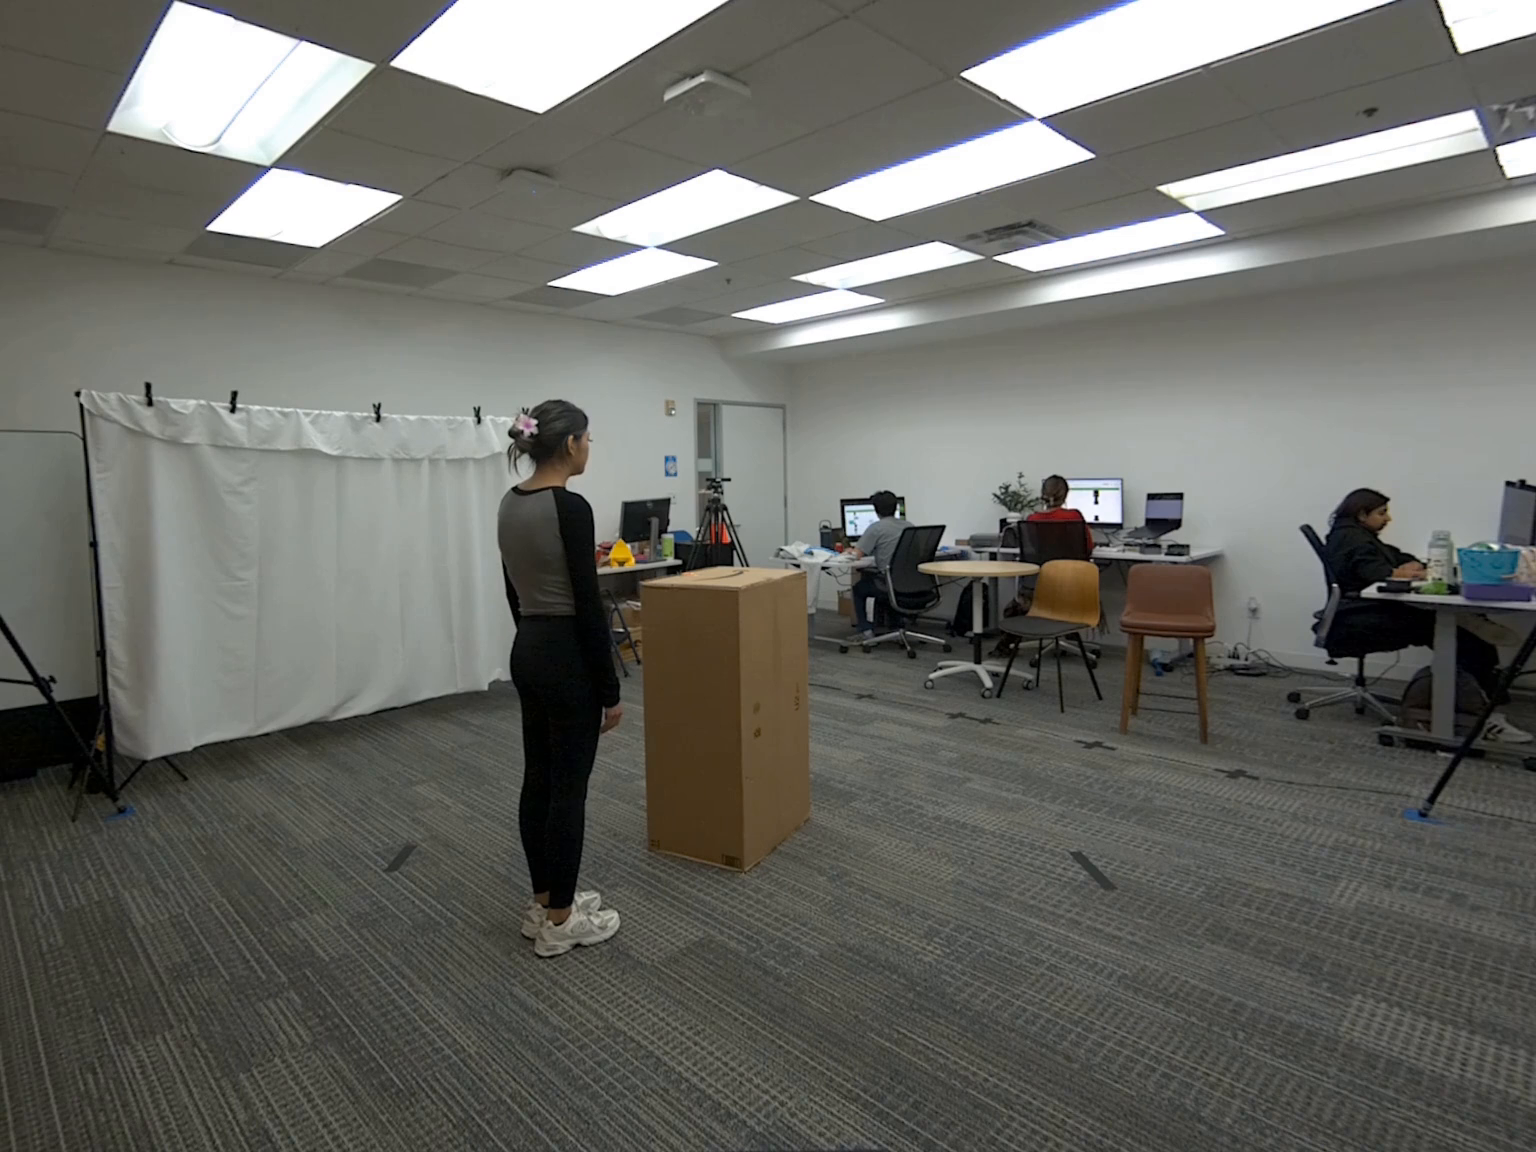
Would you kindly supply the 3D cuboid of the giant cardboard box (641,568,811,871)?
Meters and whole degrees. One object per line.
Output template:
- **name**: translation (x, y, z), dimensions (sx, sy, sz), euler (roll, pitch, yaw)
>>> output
- **giant cardboard box**: translation (-0.153, 0.510, 3.339), dimensions (0.458, 1.023, 0.572), euler (2, 5, 28)
